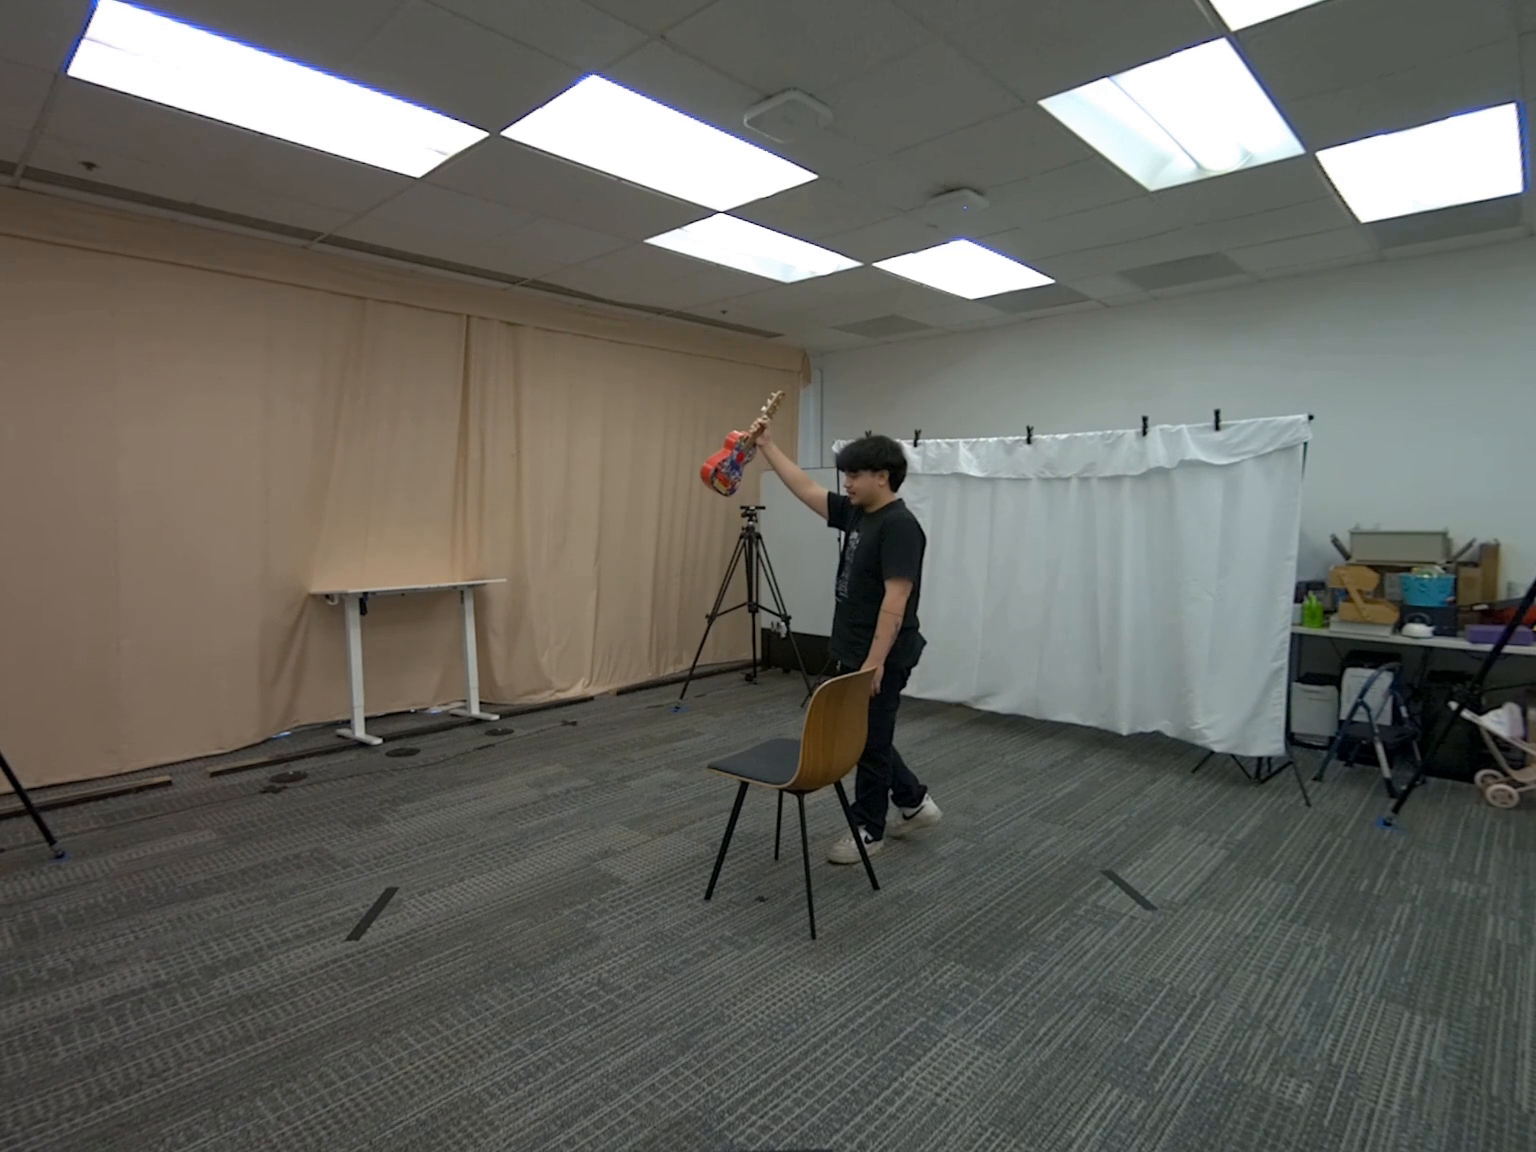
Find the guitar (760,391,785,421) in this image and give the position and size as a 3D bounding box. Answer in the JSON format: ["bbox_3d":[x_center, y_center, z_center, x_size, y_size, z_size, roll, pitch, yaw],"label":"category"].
[{"bbox_3d":[-0.083,-0.548,3.533,0.073,0.497,0.186,30,-13,42],"label":"guitar"}]
